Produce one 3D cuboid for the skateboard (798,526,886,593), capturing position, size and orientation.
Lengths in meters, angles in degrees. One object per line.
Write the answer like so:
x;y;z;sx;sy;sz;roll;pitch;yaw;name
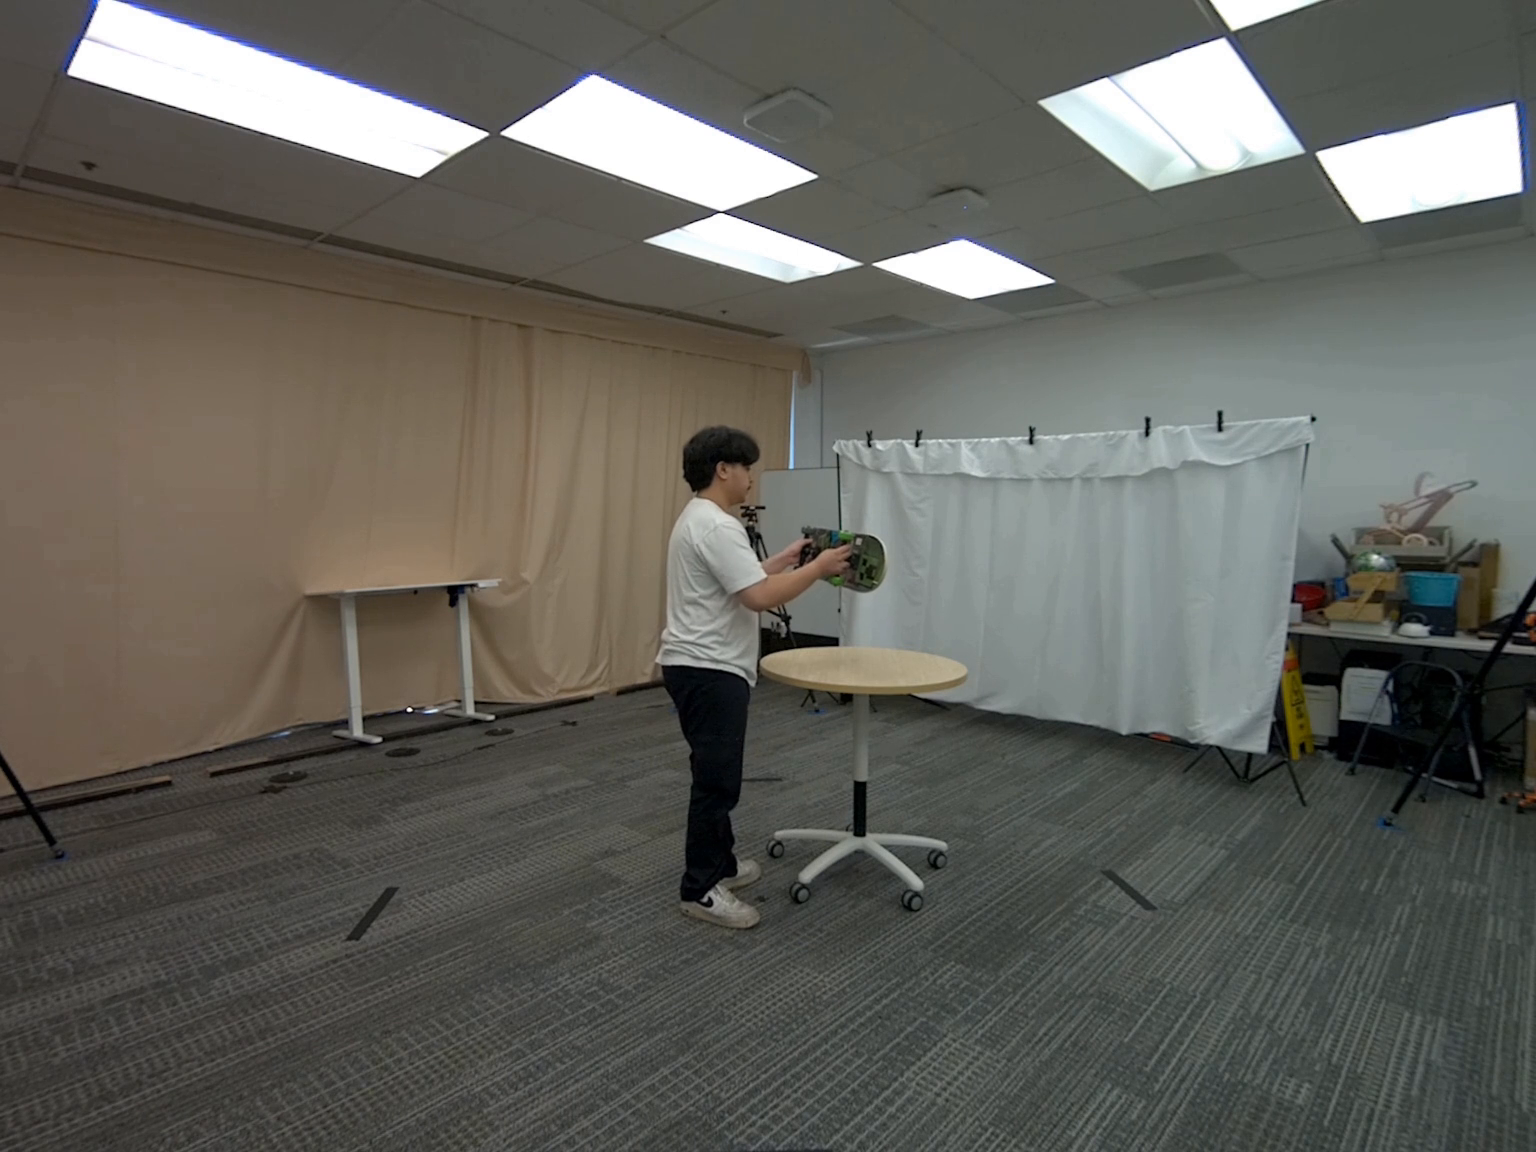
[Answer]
0.226;-0.070;3.018;0.108;0.193;0.800;7;3;-17;skateboard
